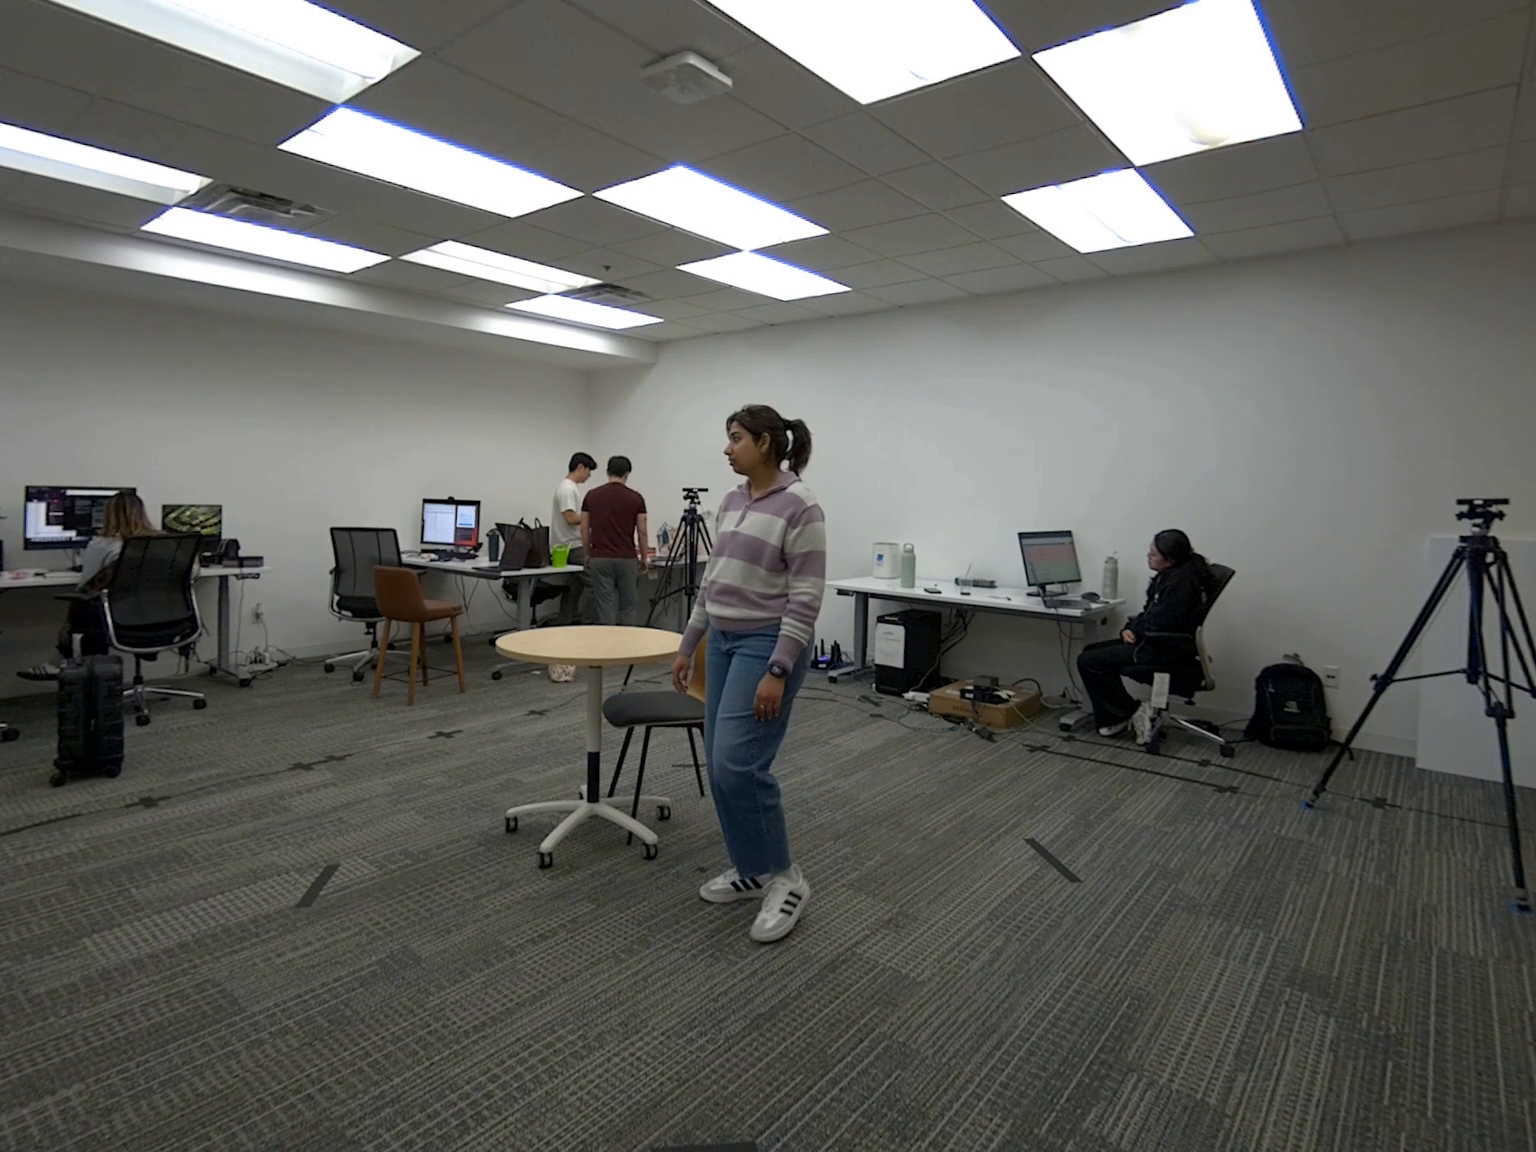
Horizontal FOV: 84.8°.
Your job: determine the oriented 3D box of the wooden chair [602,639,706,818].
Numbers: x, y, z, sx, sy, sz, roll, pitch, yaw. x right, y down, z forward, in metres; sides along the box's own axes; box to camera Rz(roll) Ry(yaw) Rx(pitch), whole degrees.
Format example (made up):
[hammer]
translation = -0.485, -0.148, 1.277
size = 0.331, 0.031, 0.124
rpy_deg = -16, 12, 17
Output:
[wooden chair]
translation = -0.433, 0.593, 3.550
size = 0.512, 0.875, 0.490
rpy_deg = 4, 3, -21
